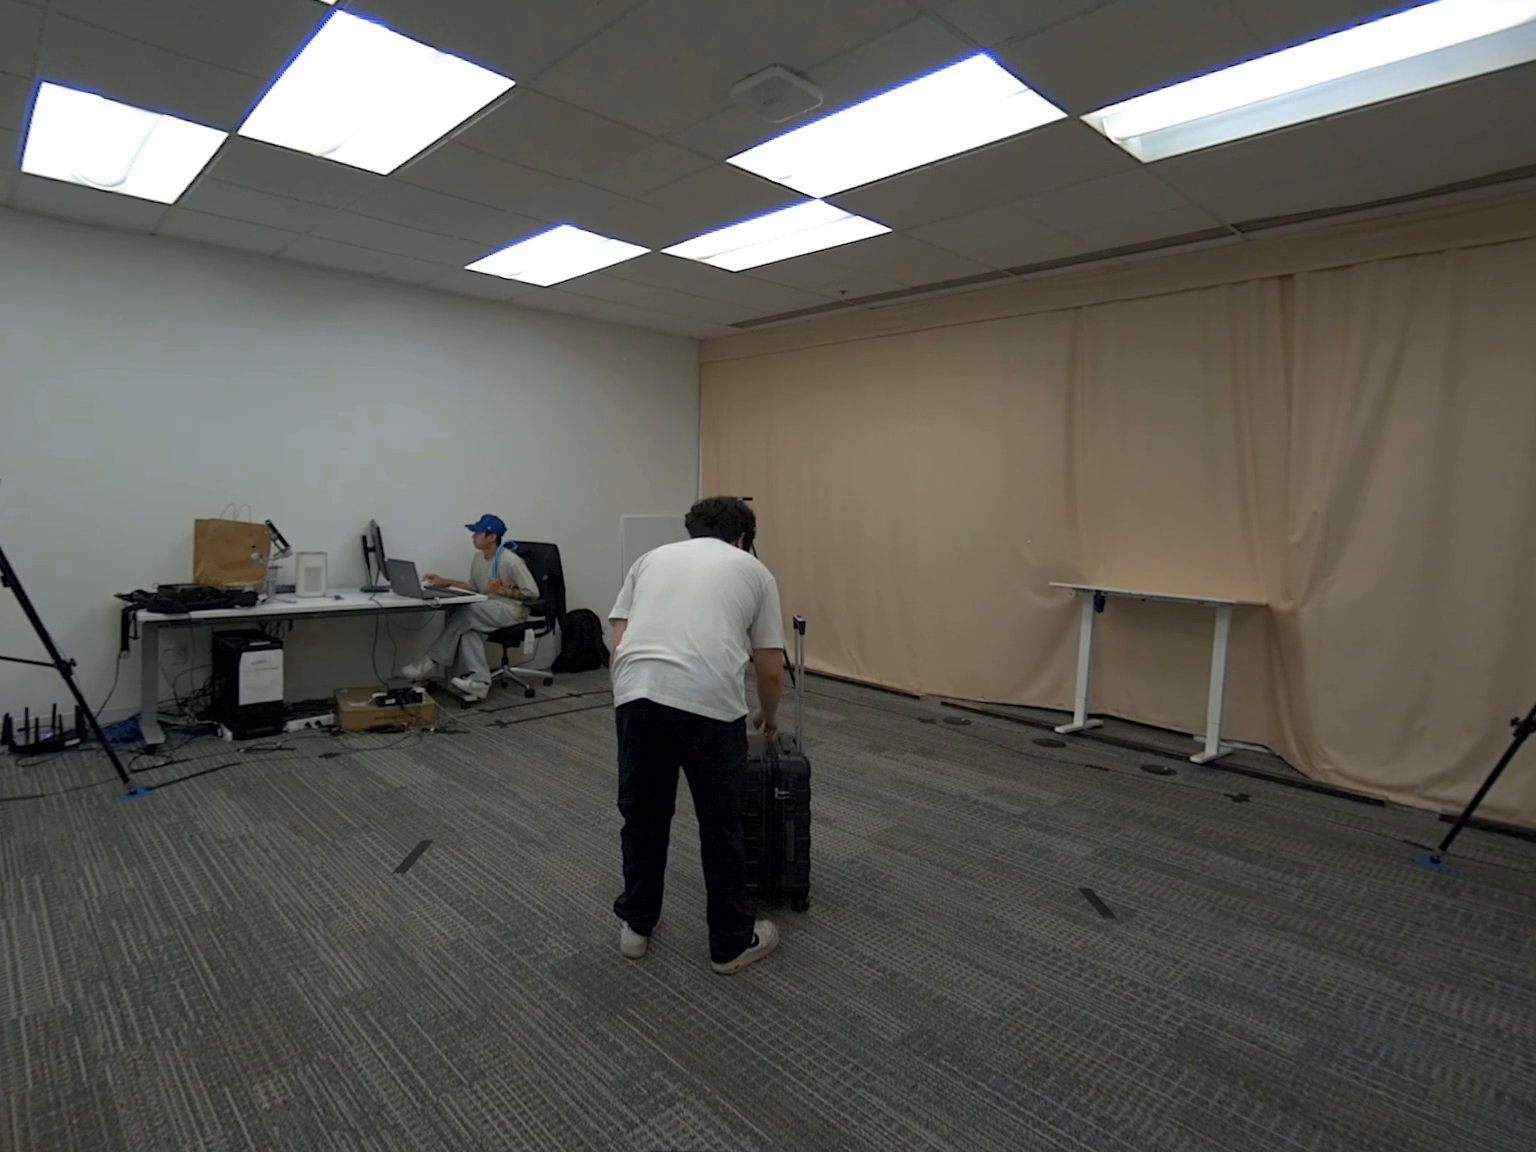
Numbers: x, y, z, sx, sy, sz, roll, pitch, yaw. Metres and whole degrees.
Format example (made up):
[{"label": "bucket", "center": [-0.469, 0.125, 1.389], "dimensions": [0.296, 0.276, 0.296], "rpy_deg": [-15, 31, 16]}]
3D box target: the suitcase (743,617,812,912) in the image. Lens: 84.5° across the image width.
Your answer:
[{"label": "suitcase", "center": [0.002, 0.651, 2.949], "dimensions": [0.256, 0.976, 0.386], "rpy_deg": [-2, 3, -4]}]
